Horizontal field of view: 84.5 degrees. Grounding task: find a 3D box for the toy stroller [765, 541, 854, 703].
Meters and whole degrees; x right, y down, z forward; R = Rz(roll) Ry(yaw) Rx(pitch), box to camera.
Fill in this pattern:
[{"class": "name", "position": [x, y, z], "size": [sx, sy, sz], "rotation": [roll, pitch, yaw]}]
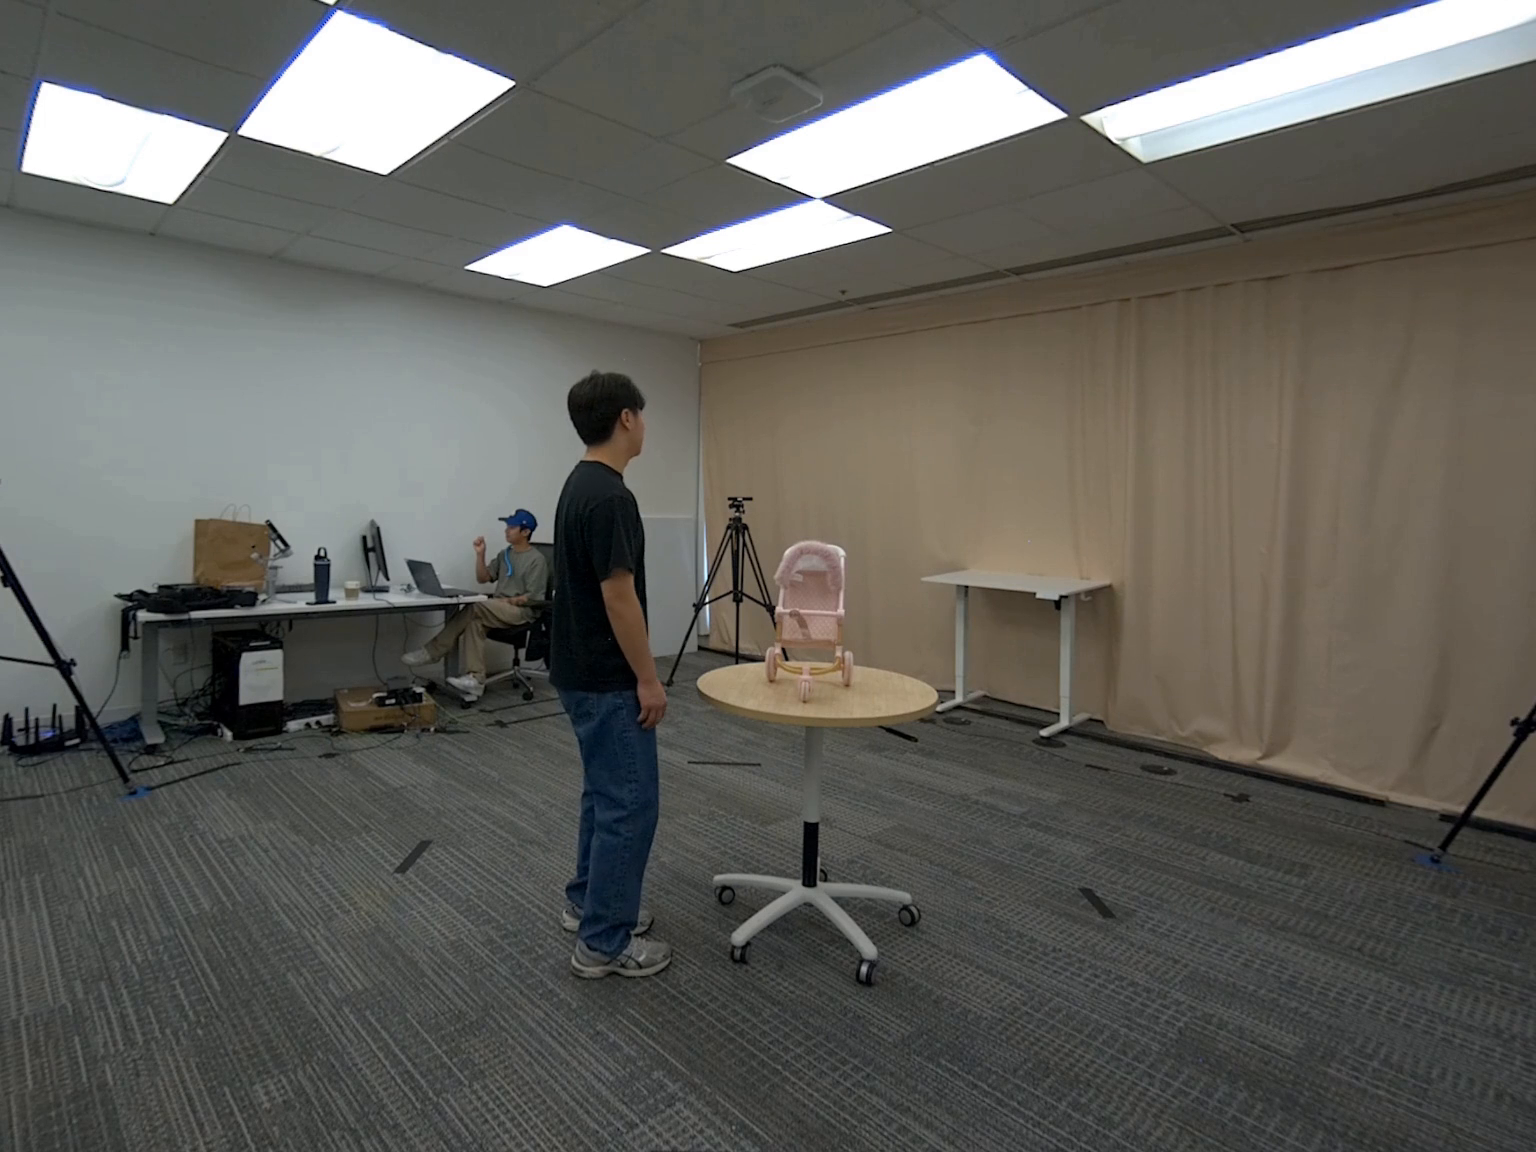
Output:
[{"class": "toy stroller", "position": [0.127, 0.132, 2.664], "size": [0.284, 0.539, 0.336], "rotation": [2, -11, 10]}]
